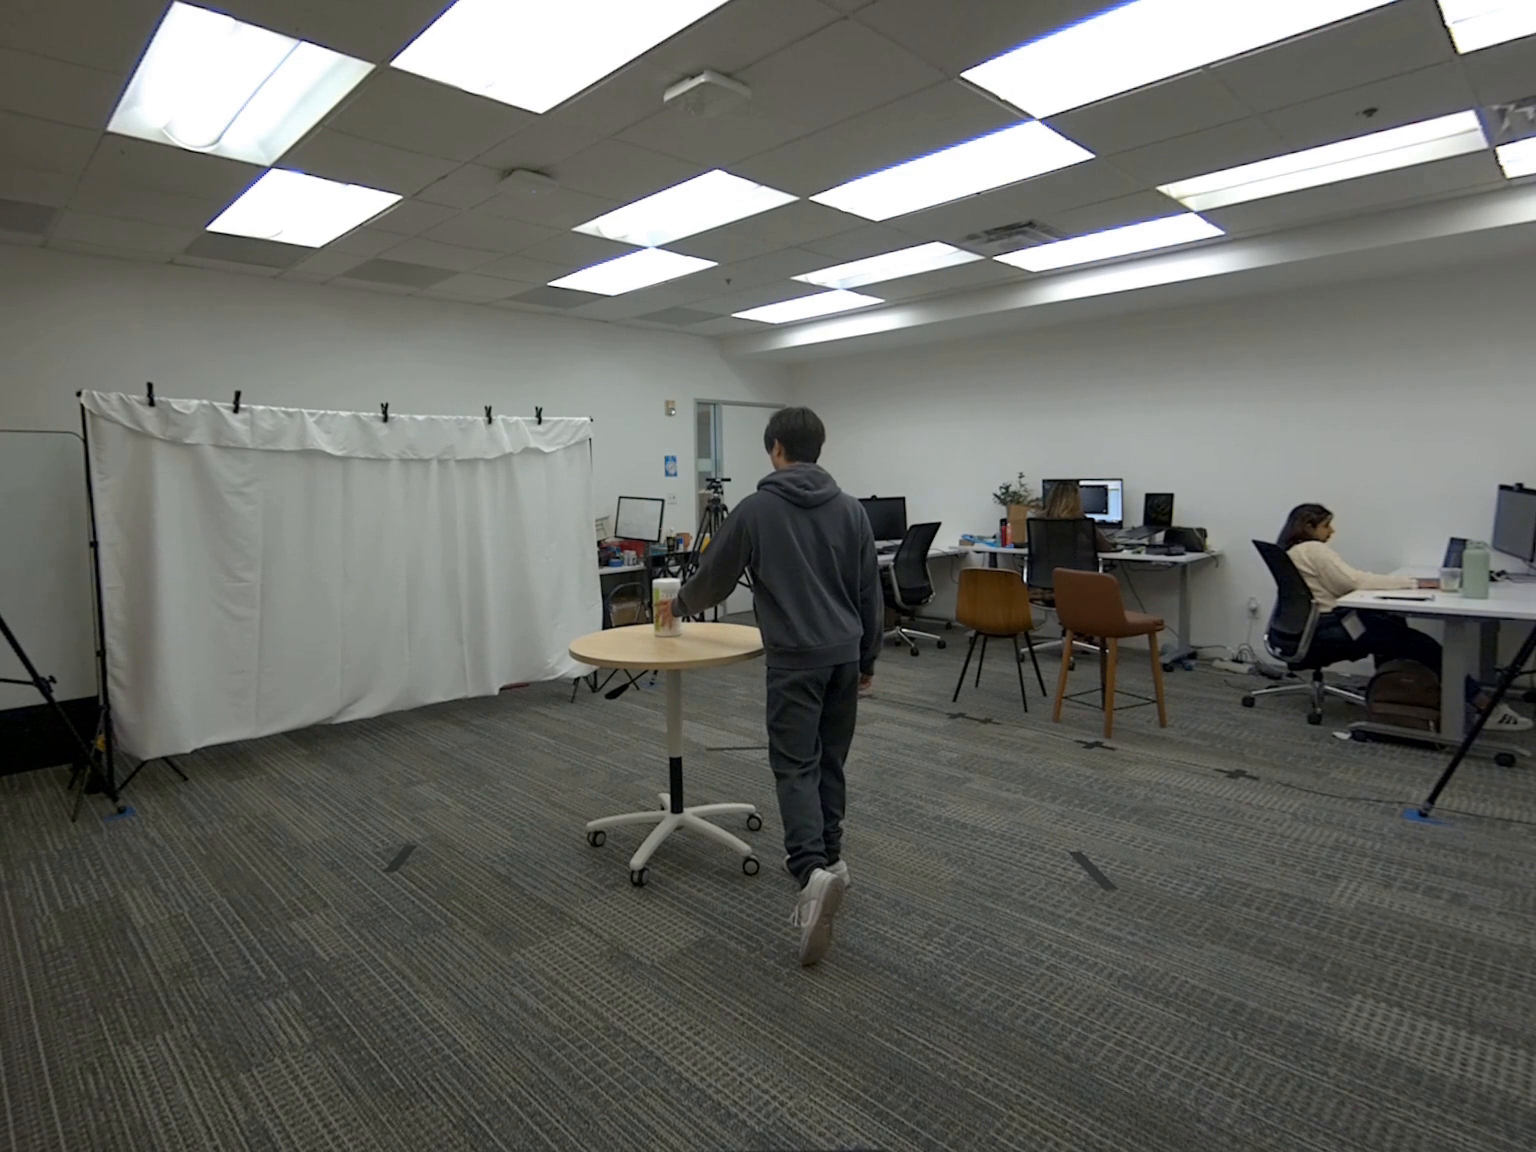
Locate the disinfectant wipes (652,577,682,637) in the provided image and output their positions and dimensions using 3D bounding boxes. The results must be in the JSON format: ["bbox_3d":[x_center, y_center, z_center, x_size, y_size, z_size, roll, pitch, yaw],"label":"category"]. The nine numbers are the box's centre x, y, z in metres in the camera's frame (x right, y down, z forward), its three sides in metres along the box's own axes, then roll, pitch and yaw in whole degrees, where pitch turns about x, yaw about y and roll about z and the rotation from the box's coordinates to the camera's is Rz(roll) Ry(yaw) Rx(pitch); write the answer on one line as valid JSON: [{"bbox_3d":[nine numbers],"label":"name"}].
[{"bbox_3d":[-0.387,0.123,3.302,0.118,0.217,0.118,-3,3,-1],"label":"disinfectant wipes"}]
